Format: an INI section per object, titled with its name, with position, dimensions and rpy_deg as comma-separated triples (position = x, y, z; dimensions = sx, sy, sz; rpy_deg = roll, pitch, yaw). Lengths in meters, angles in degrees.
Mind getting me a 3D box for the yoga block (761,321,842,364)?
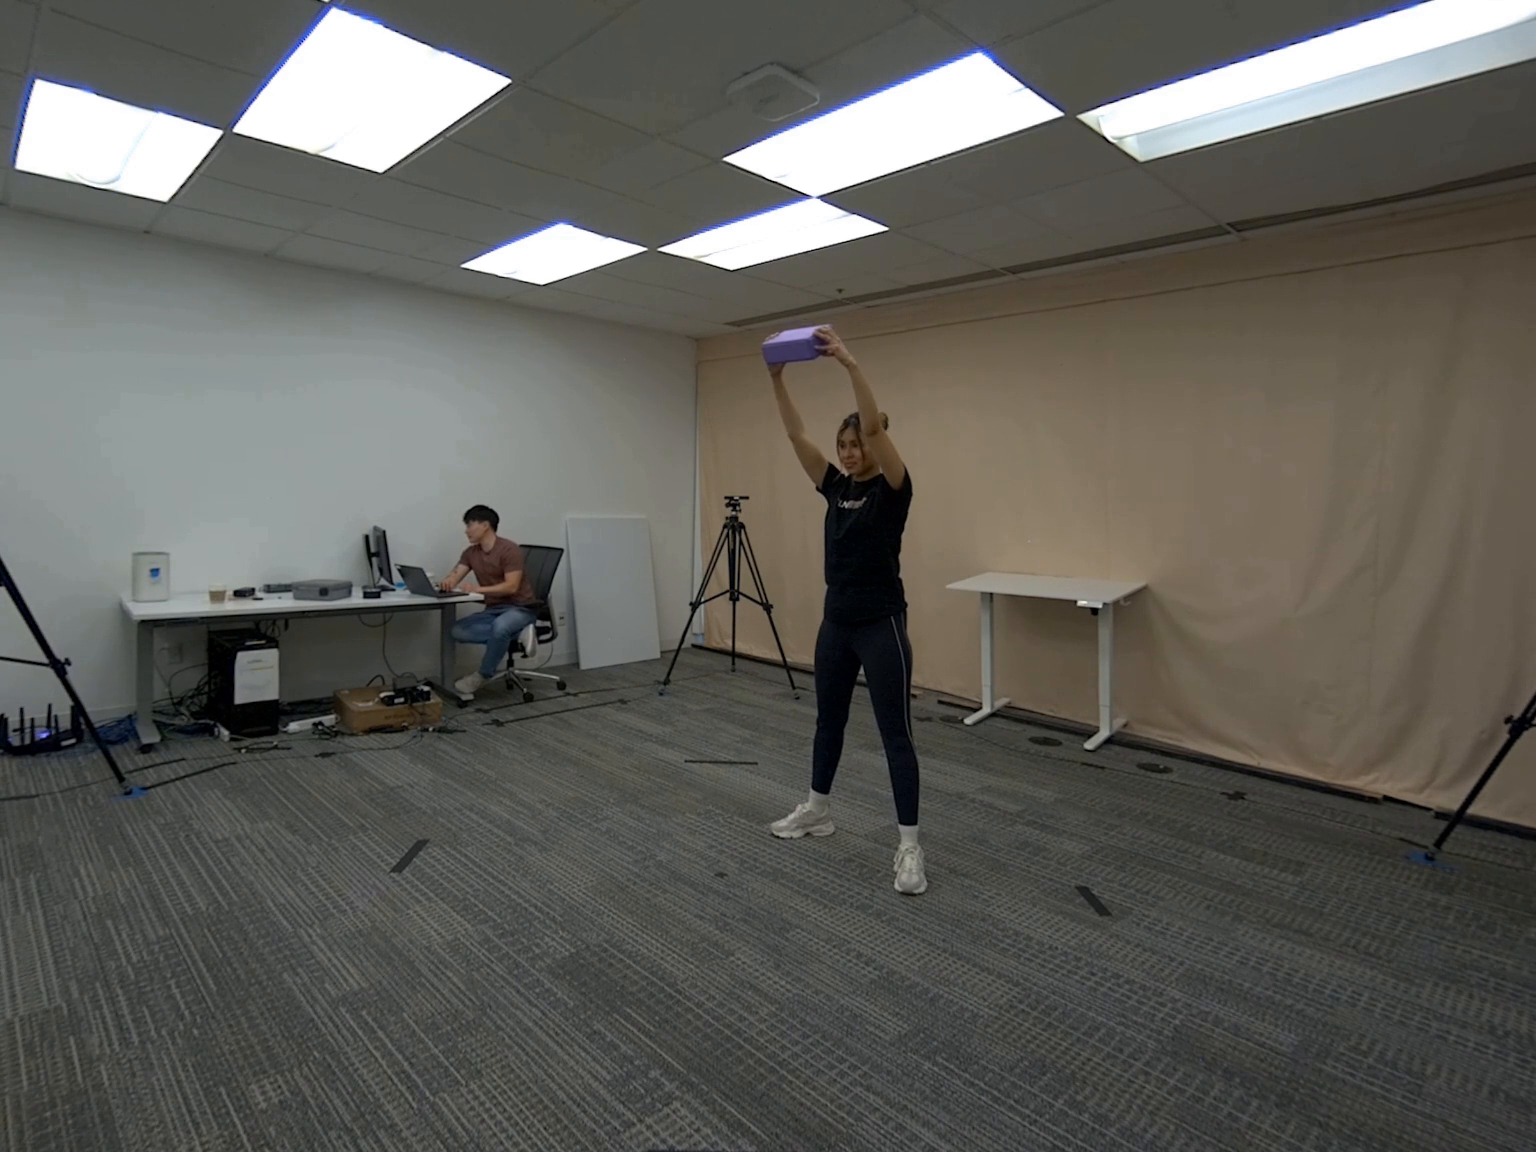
[yoga block]
position = 0.115, -0.810, 2.935
dimensions = 0.235, 0.075, 0.148
rpy_deg = 9, 37, 46
